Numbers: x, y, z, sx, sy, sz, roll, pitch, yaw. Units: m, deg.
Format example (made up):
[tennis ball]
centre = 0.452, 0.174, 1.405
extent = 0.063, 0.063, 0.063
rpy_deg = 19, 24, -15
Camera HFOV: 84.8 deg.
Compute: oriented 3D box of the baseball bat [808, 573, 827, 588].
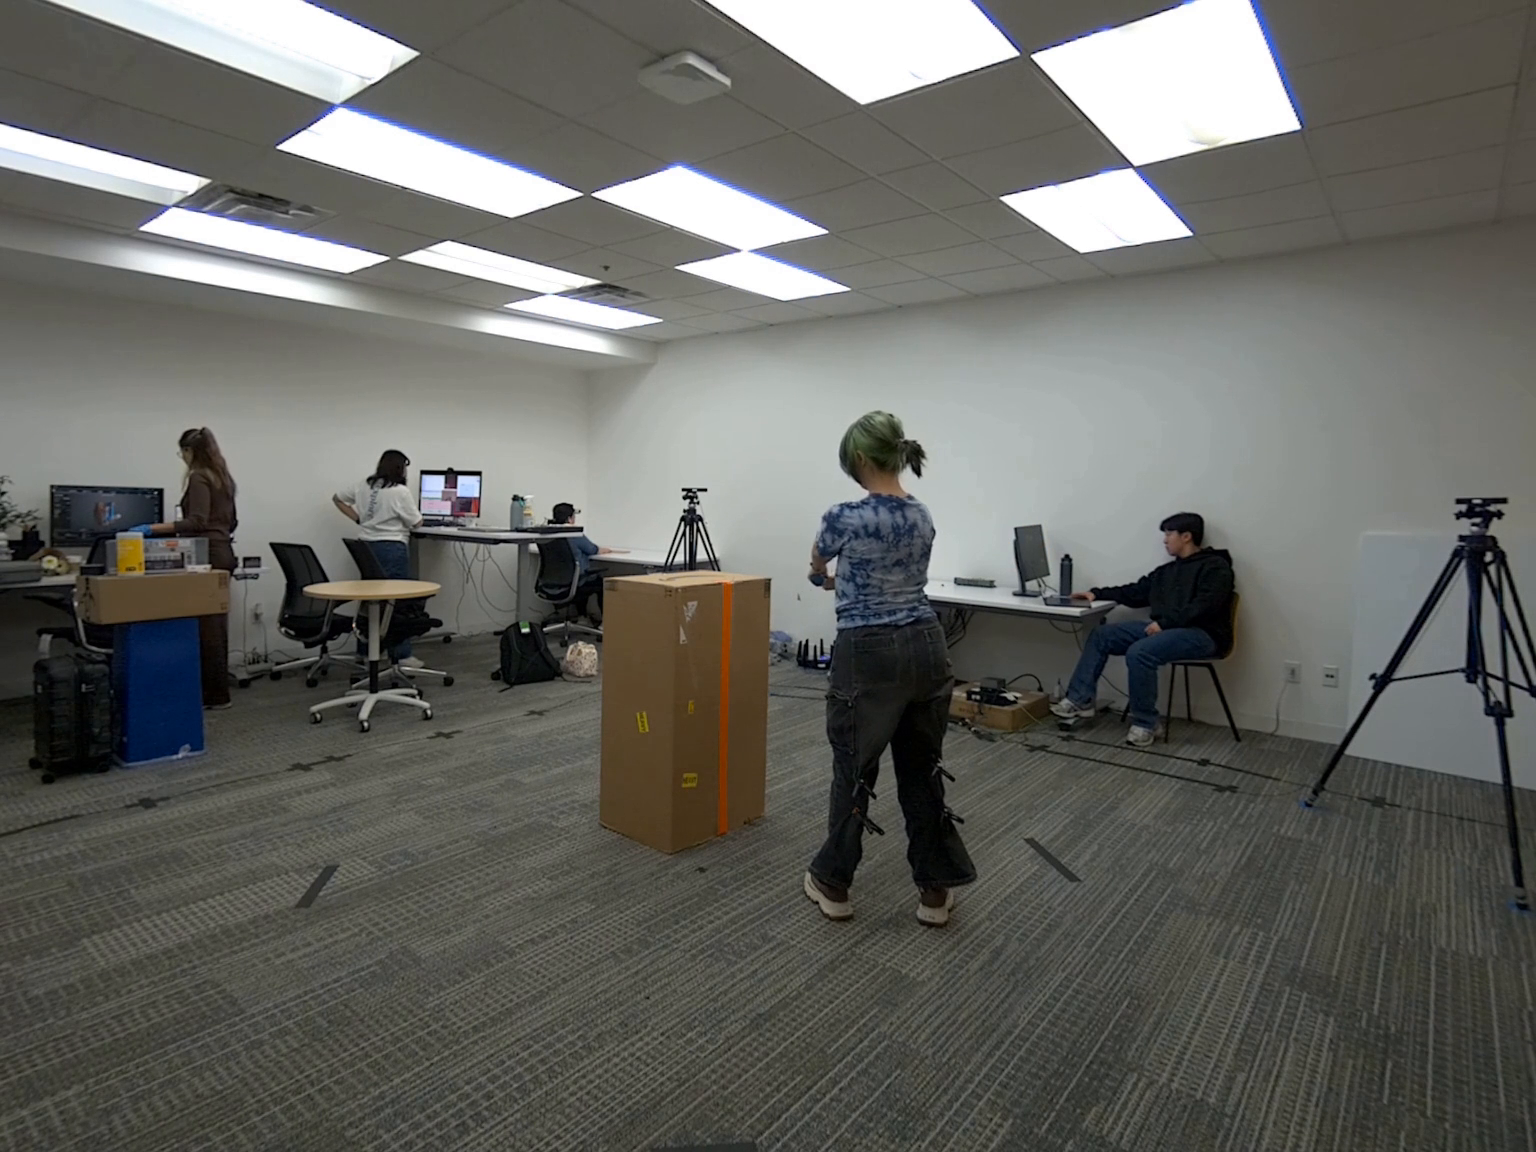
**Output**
[baseball bat]
centre = 0.285, 0.010, 3.464
extent = 0.091, 0.089, 0.531
rpy_deg = 2, 1, 18
